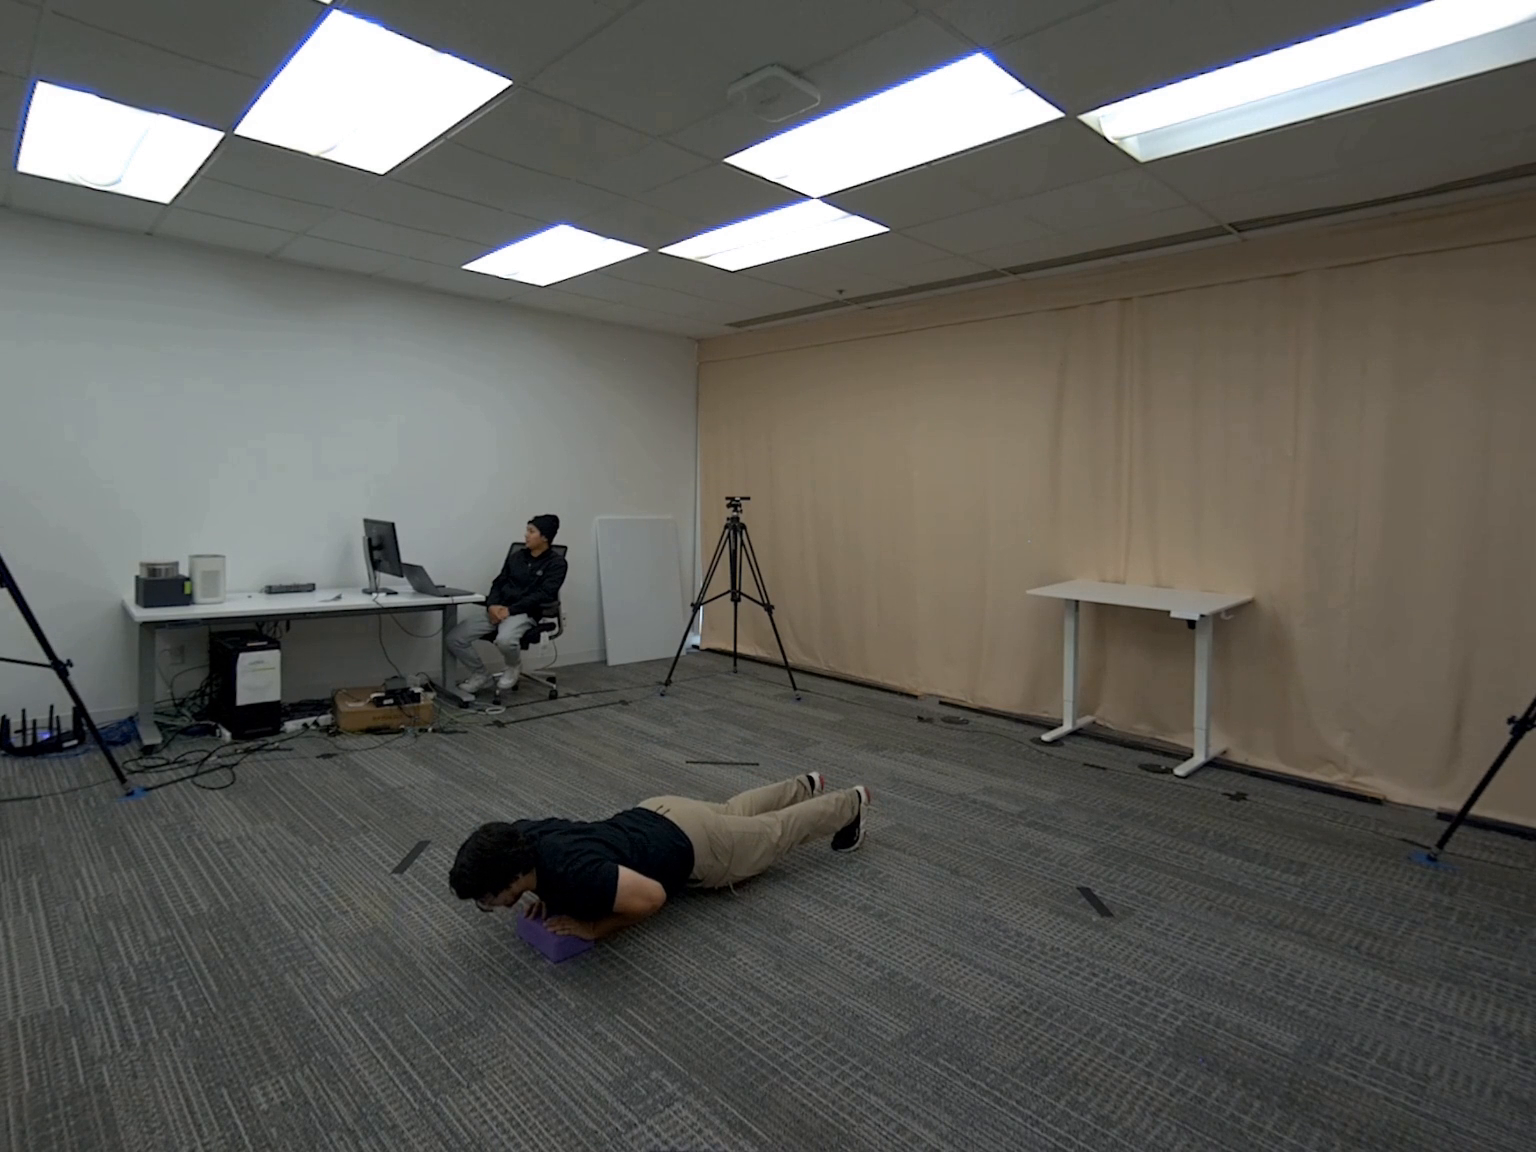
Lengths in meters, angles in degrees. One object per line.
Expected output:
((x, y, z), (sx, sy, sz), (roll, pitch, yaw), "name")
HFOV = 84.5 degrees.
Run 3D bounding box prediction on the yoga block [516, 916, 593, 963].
((-0.669, 1.097, 2.627), (0.235, 0.076, 0.145), (3, 2, 44), "yoga block")
